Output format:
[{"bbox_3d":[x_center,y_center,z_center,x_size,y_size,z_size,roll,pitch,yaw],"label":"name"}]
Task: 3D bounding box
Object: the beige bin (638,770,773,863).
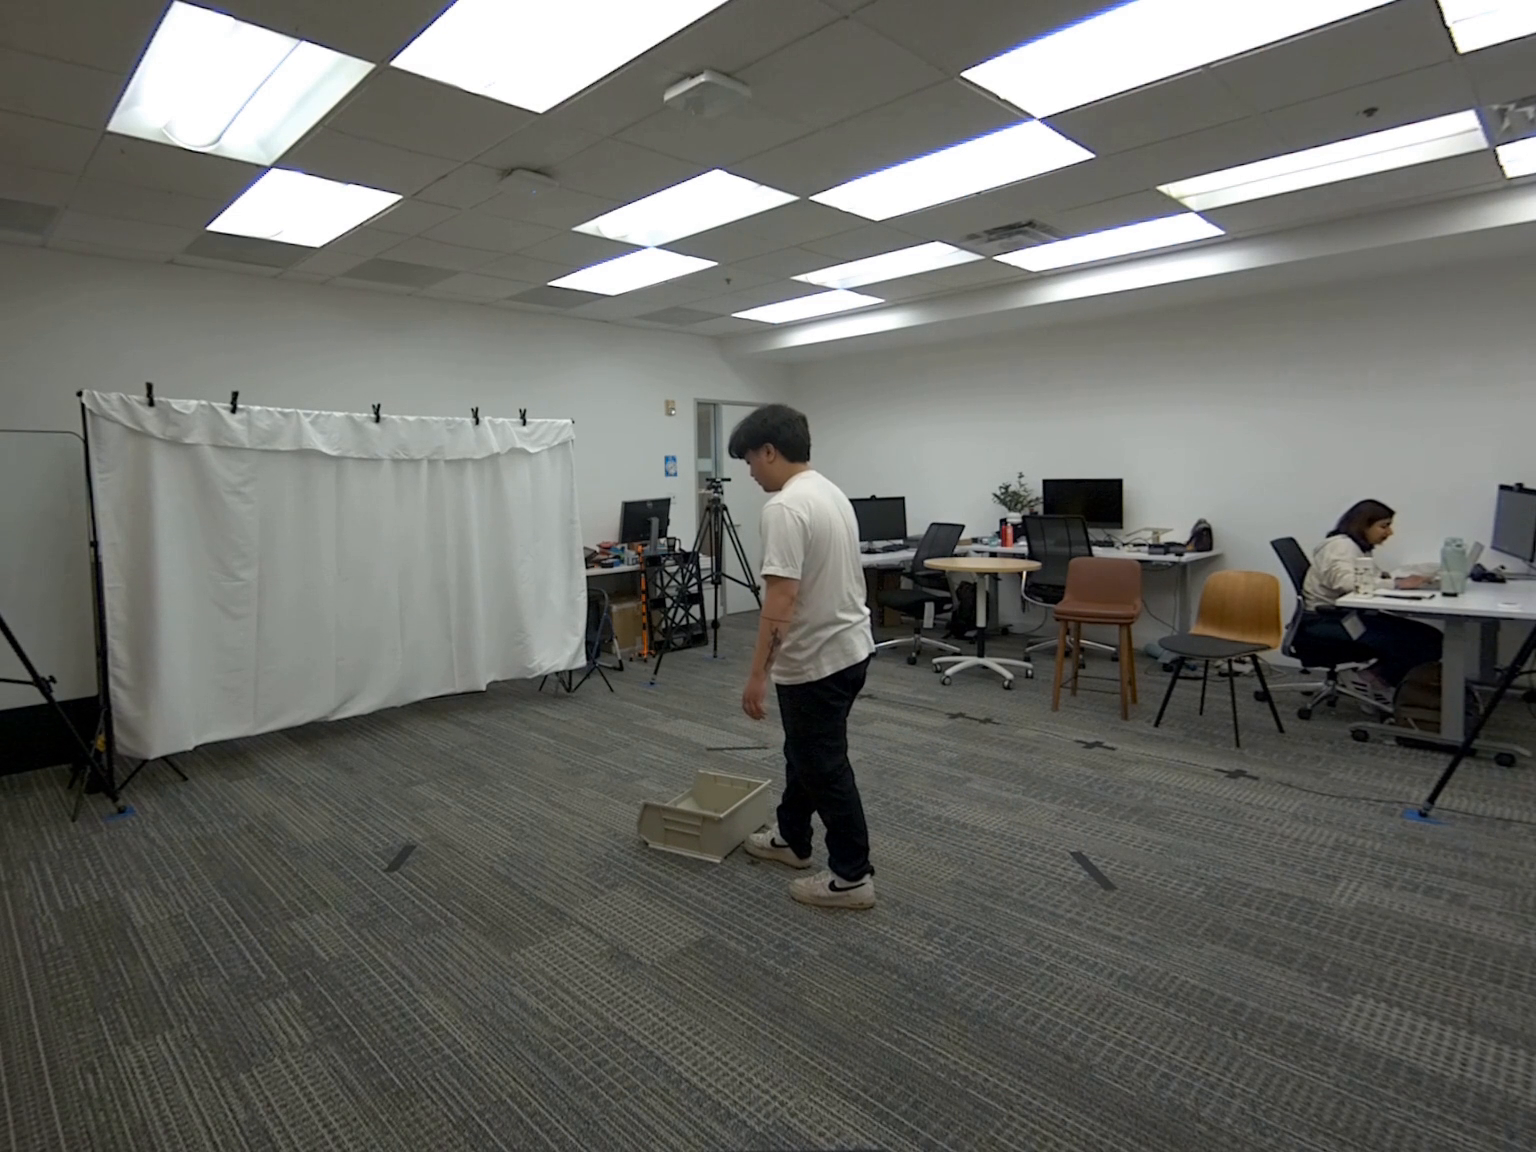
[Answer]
[{"bbox_3d":[-0.240,0.926,3.358,0.387,0.188,0.414,3,7,27],"label":"beige bin"}]
